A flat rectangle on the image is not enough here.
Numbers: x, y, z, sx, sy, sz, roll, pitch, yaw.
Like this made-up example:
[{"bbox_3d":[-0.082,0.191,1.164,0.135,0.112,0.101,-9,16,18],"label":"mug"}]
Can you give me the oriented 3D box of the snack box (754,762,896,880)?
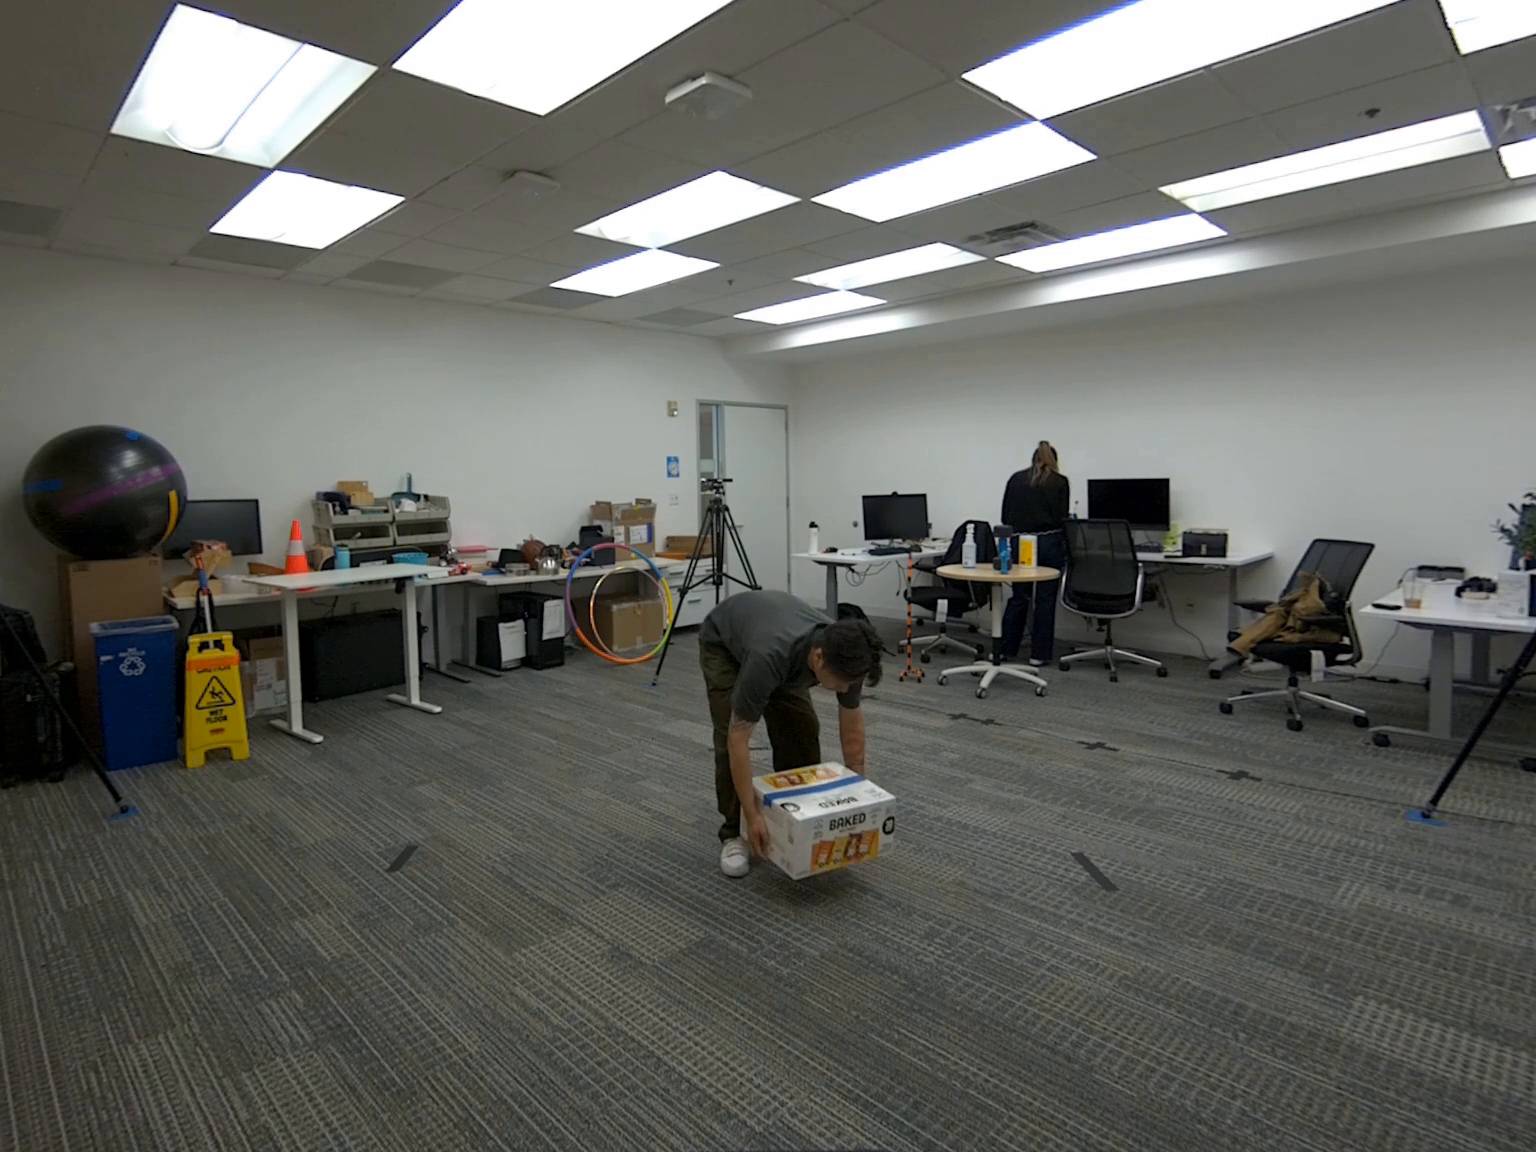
[{"bbox_3d":[0.163,0.816,2.912,0.395,0.204,0.351,-3,10,-31],"label":"snack box"}]
